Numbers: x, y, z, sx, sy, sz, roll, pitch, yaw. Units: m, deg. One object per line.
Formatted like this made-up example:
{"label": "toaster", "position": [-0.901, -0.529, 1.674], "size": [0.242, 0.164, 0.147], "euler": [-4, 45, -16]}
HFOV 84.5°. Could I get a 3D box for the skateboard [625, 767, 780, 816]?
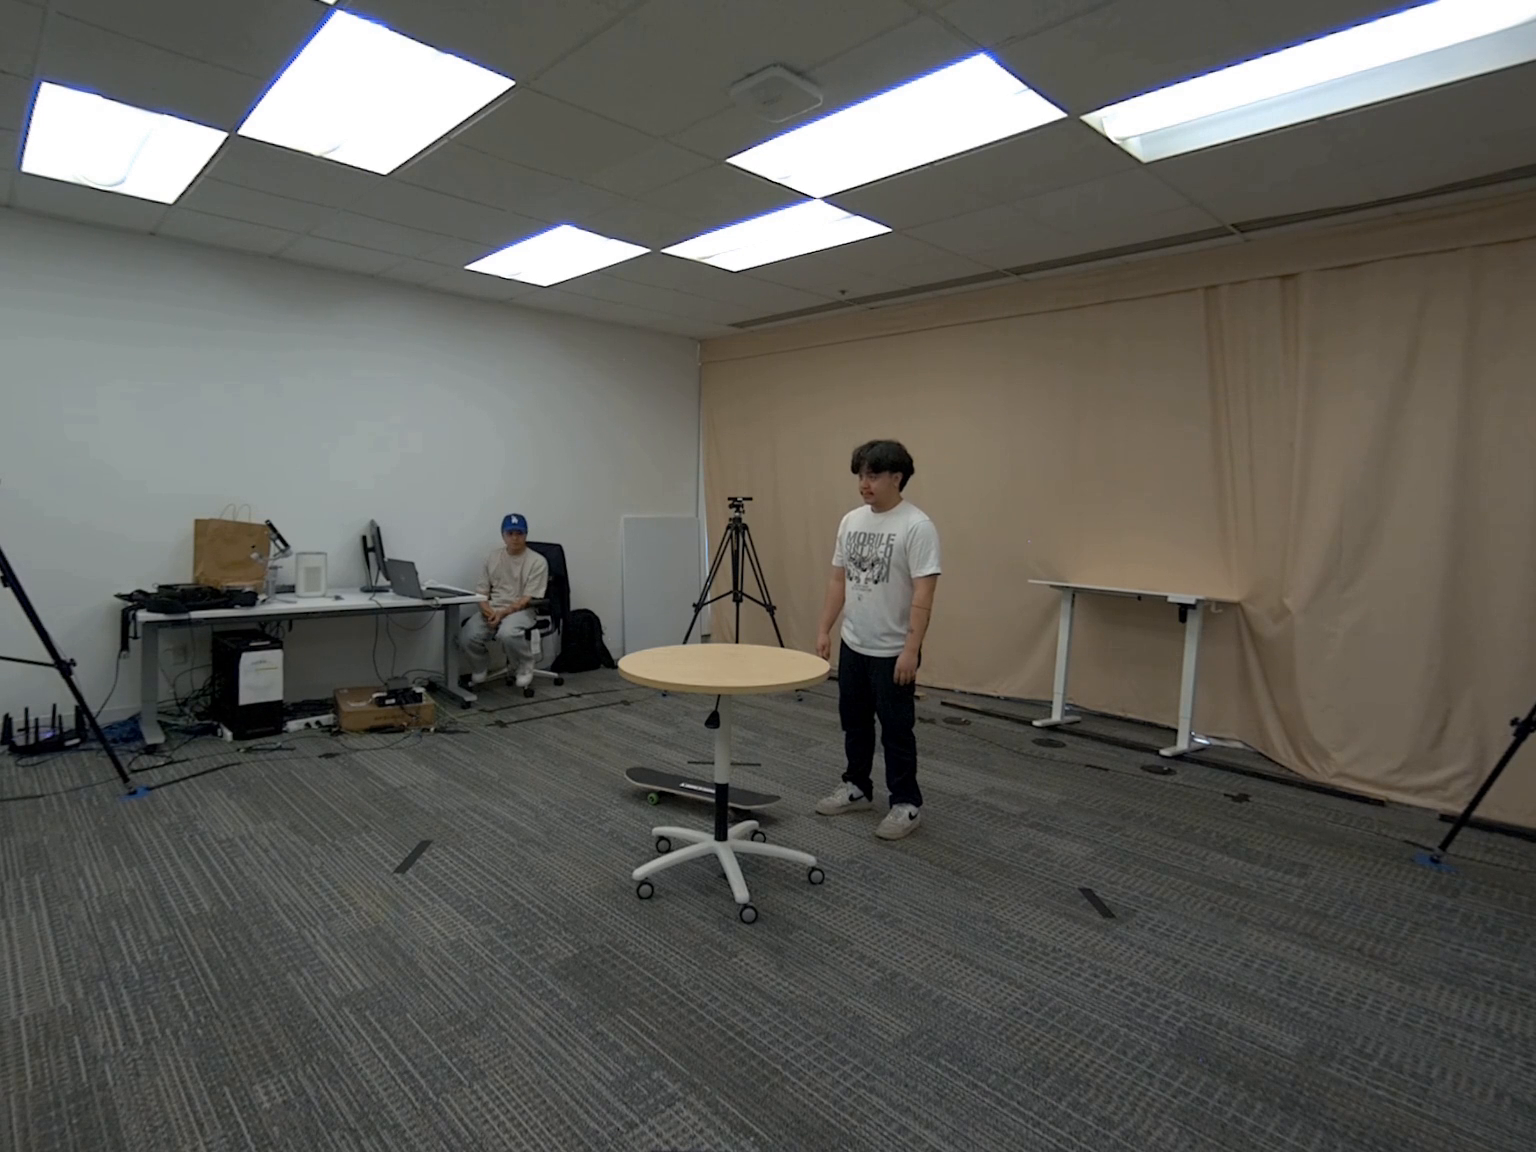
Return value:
{"label": "skateboard", "position": [-0.313, 0.986, 3.793], "size": [0.802, 0.110, 0.190], "euler": [4, 5, 28]}
